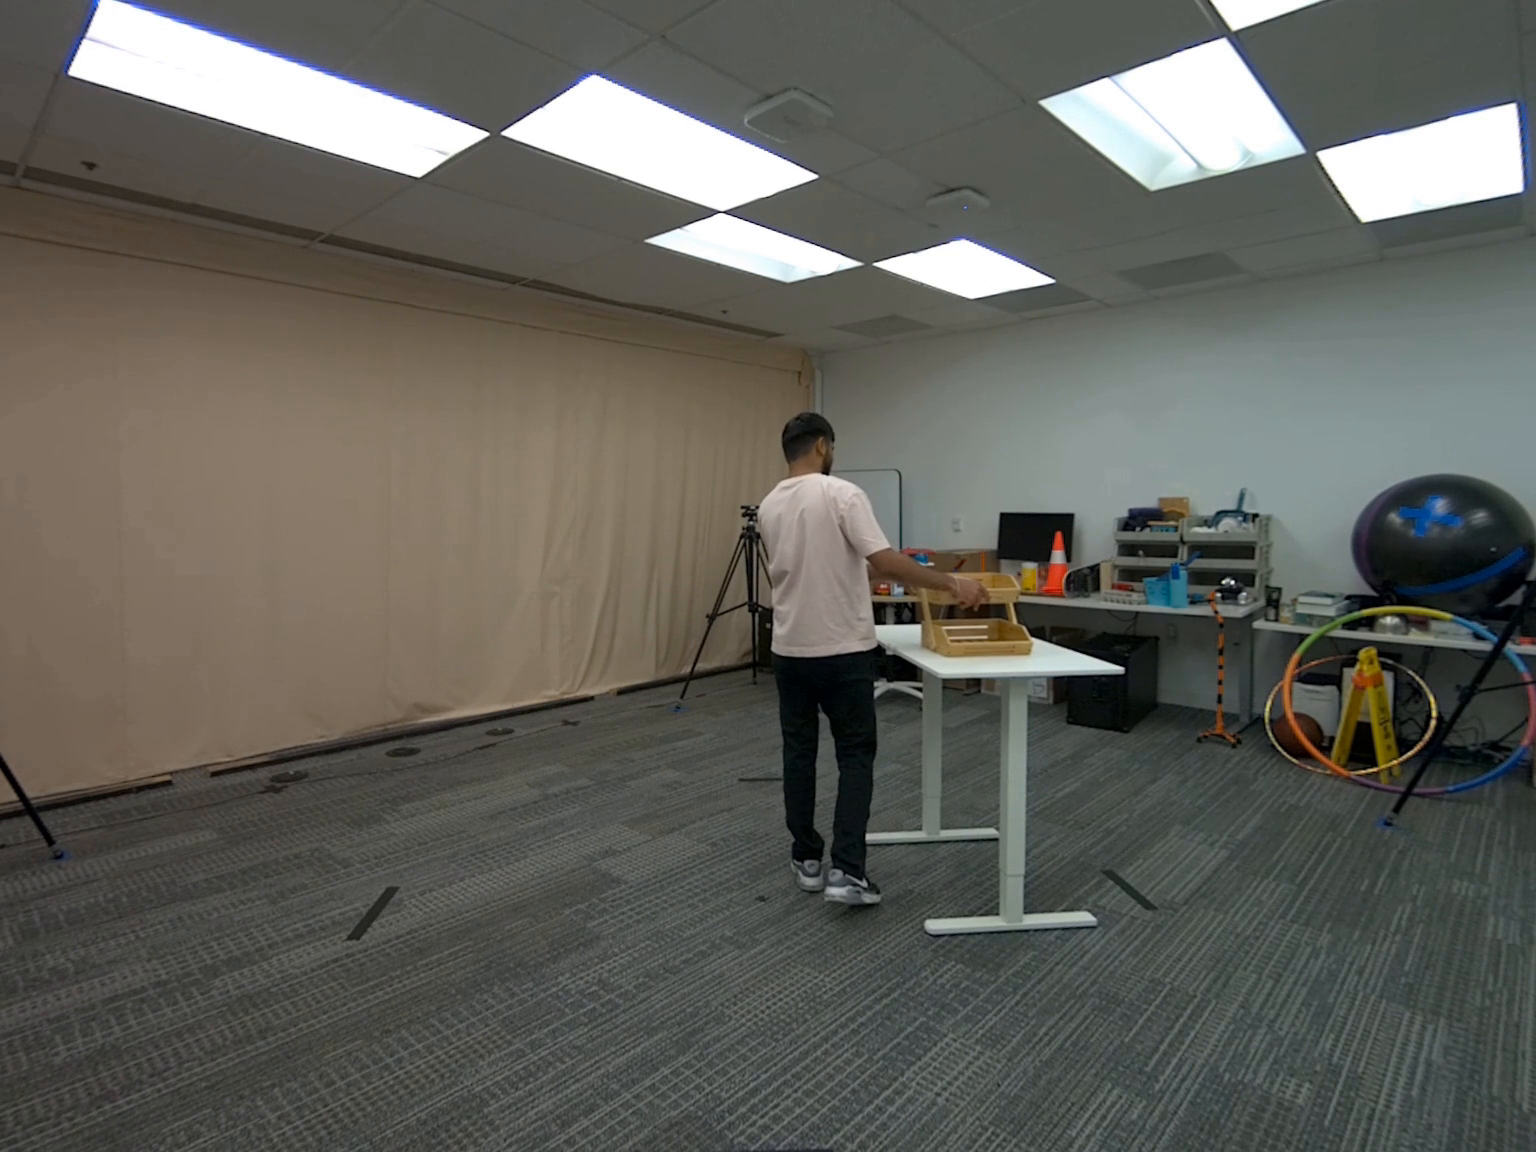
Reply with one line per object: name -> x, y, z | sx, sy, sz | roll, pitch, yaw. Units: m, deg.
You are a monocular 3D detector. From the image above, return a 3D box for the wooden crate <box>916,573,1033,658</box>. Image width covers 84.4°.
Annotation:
wooden crate -> 0.737, 0.132, 2.958 | 0.321, 0.273, 0.305 | -1, 2, -9
